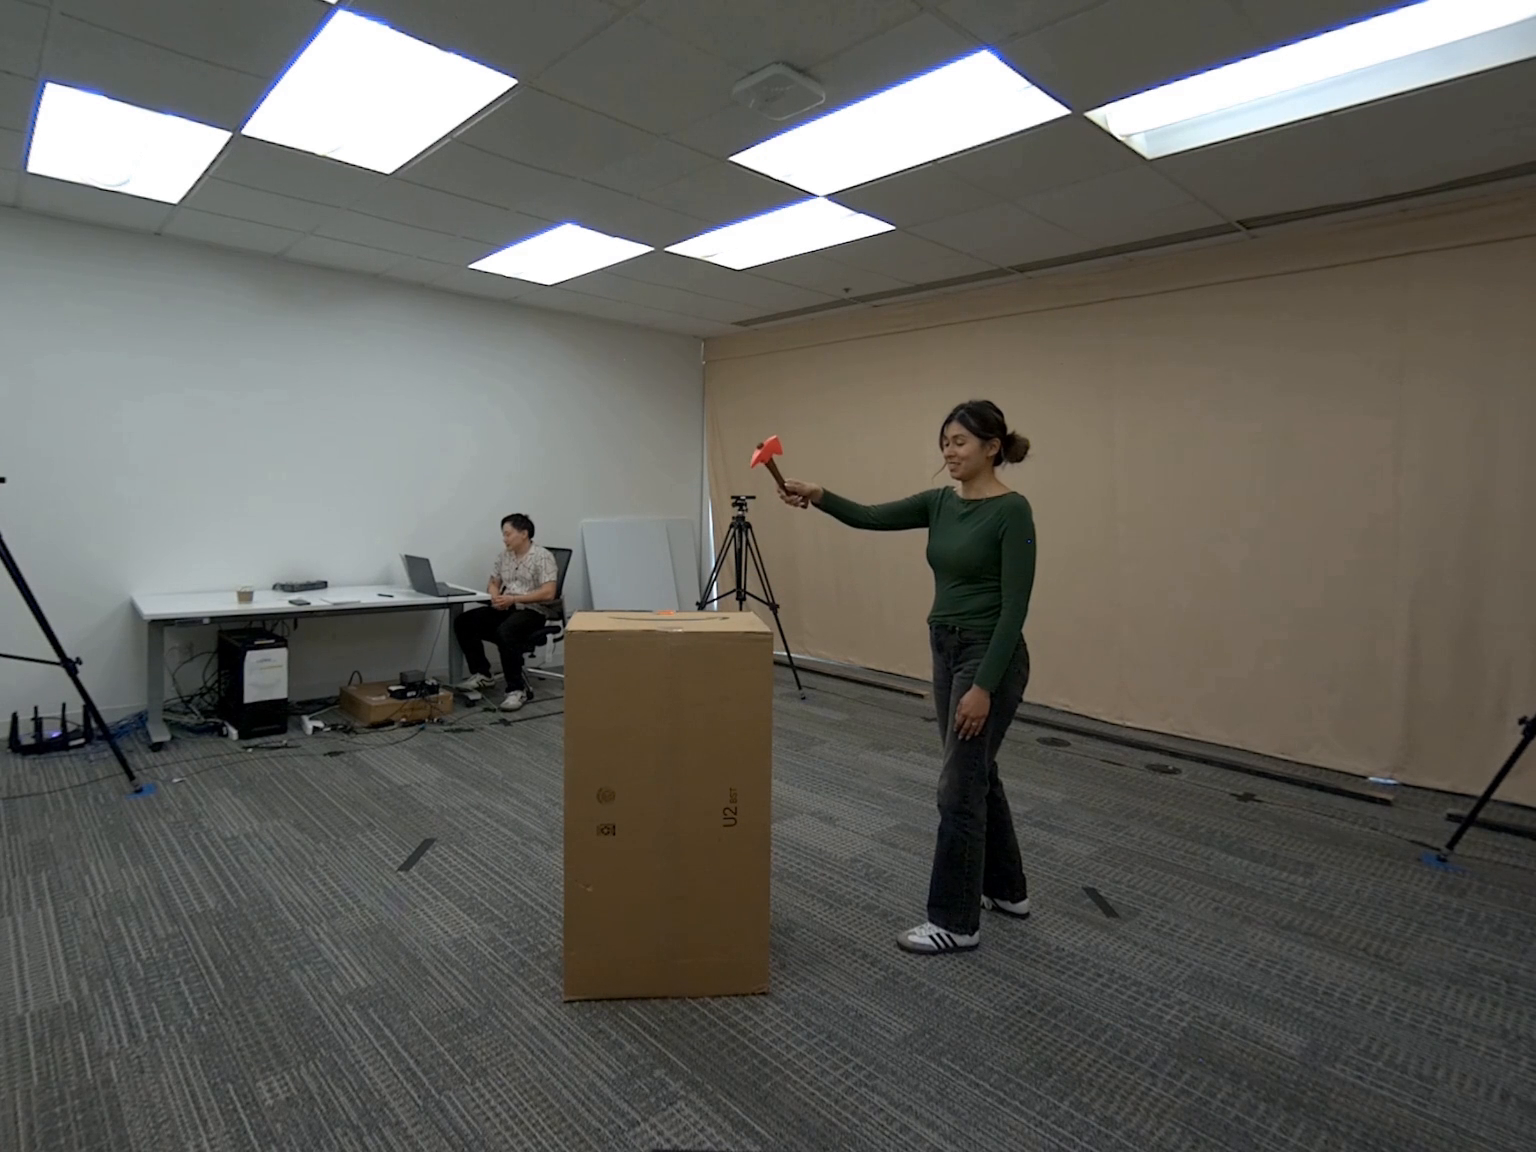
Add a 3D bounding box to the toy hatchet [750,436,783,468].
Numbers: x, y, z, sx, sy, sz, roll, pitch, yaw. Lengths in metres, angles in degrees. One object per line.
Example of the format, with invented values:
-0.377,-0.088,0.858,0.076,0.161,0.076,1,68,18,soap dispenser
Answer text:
0.043,-0.302,2.520,0.030,0.132,0.262,3,-21,46,toy hatchet
